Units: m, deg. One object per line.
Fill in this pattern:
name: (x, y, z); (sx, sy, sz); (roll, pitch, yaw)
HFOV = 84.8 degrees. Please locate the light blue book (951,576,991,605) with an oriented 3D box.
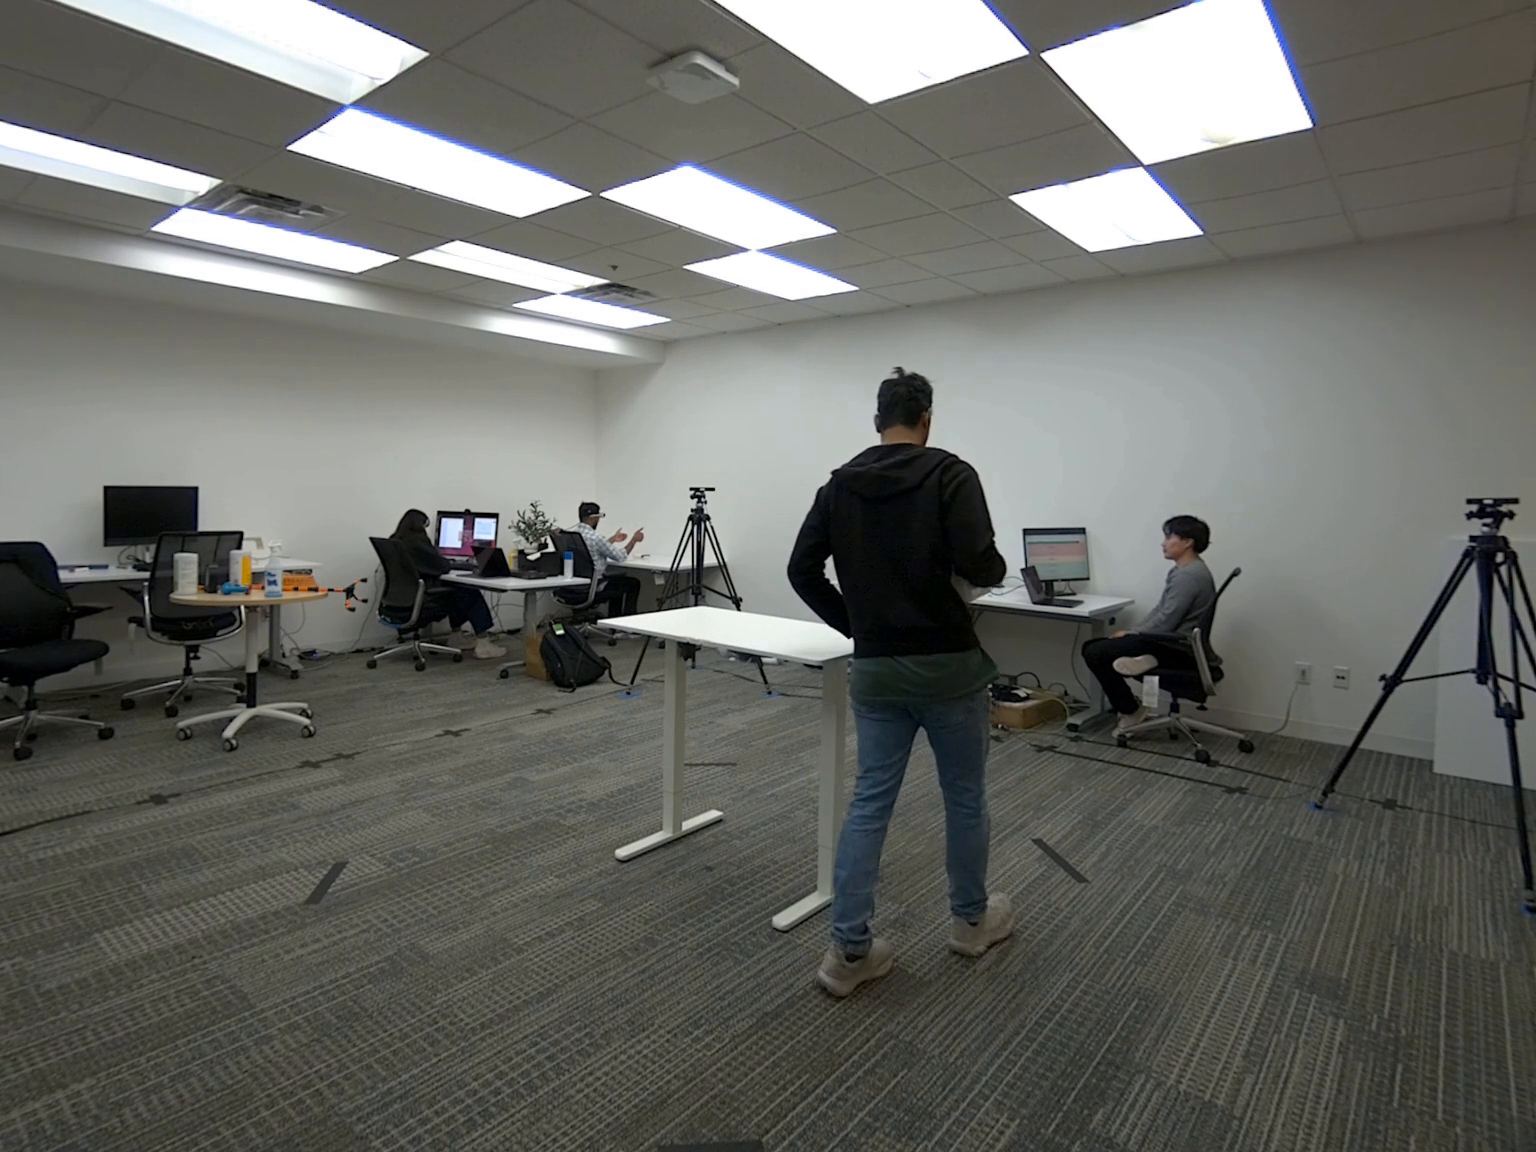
light blue book: (0.569, -0.032, 2.486); (0.060, 0.192, 0.254); (-15, -4, 32)
